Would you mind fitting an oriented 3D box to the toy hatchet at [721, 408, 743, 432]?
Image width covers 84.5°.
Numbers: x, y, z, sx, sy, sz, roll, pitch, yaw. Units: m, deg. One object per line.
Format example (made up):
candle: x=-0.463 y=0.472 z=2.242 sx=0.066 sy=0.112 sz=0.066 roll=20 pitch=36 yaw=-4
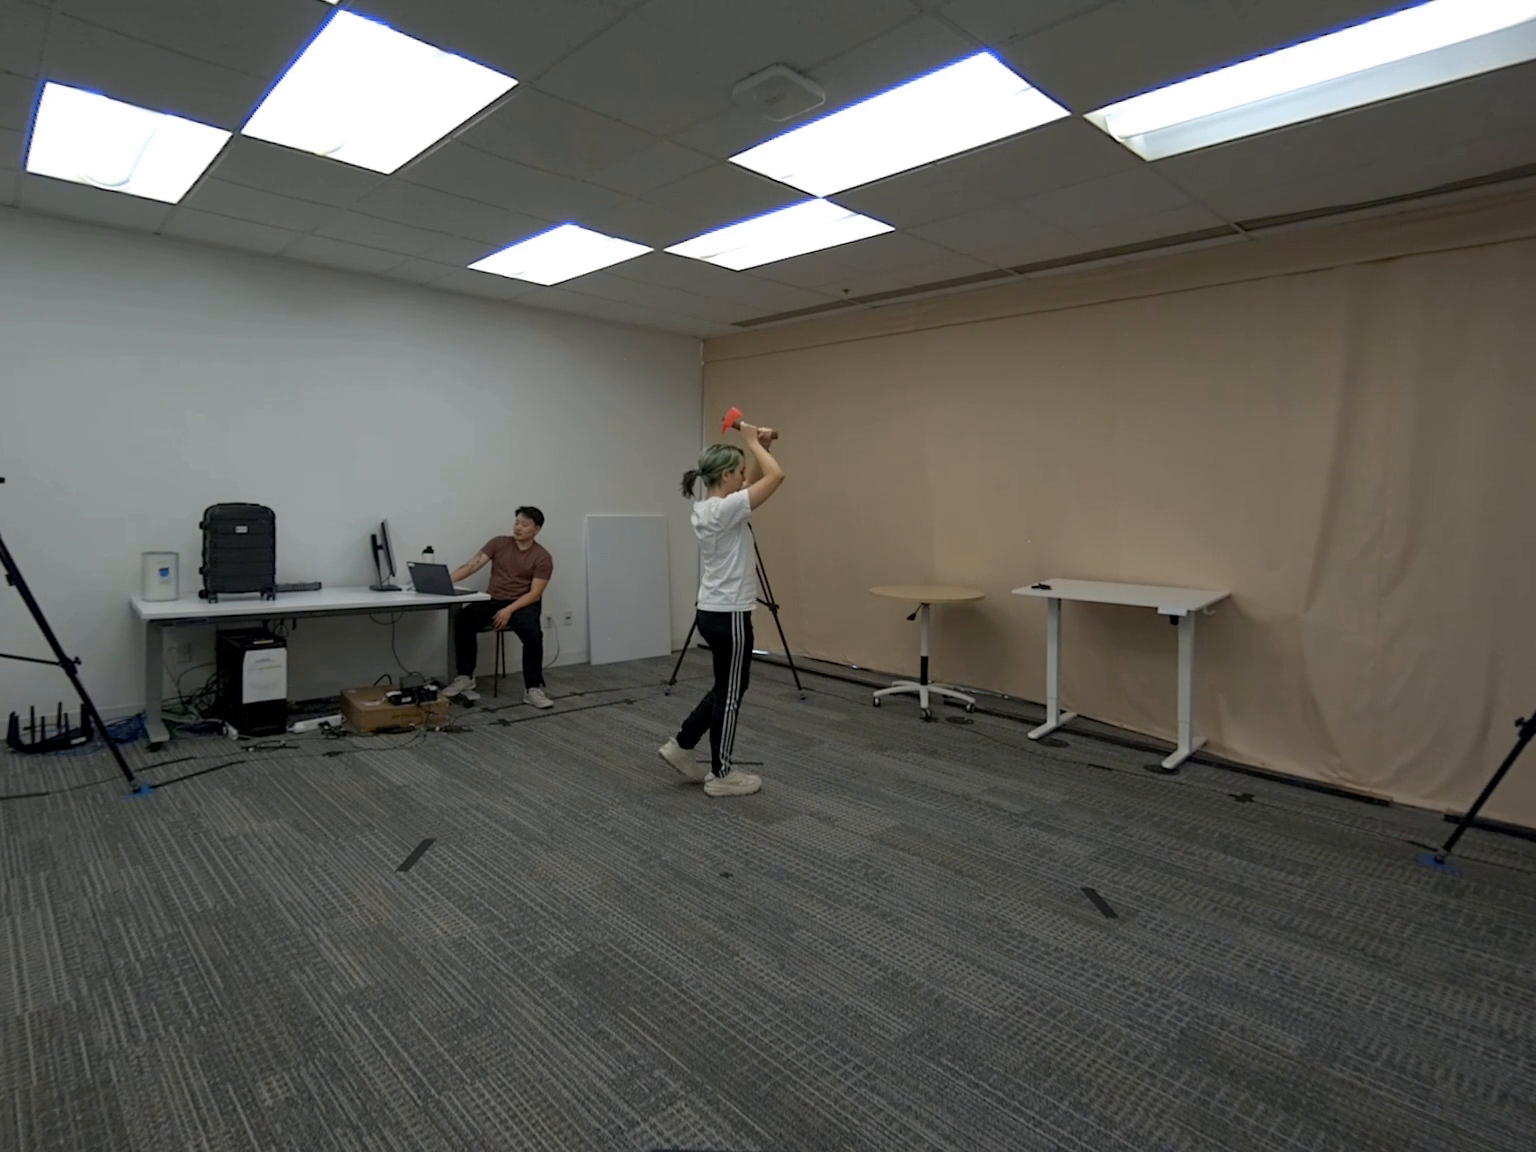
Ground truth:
toy hatchet: x=-0.088 y=-0.712 z=3.912 sx=0.268 sy=0.130 sz=0.030 roll=4 pitch=5 yaw=-7
